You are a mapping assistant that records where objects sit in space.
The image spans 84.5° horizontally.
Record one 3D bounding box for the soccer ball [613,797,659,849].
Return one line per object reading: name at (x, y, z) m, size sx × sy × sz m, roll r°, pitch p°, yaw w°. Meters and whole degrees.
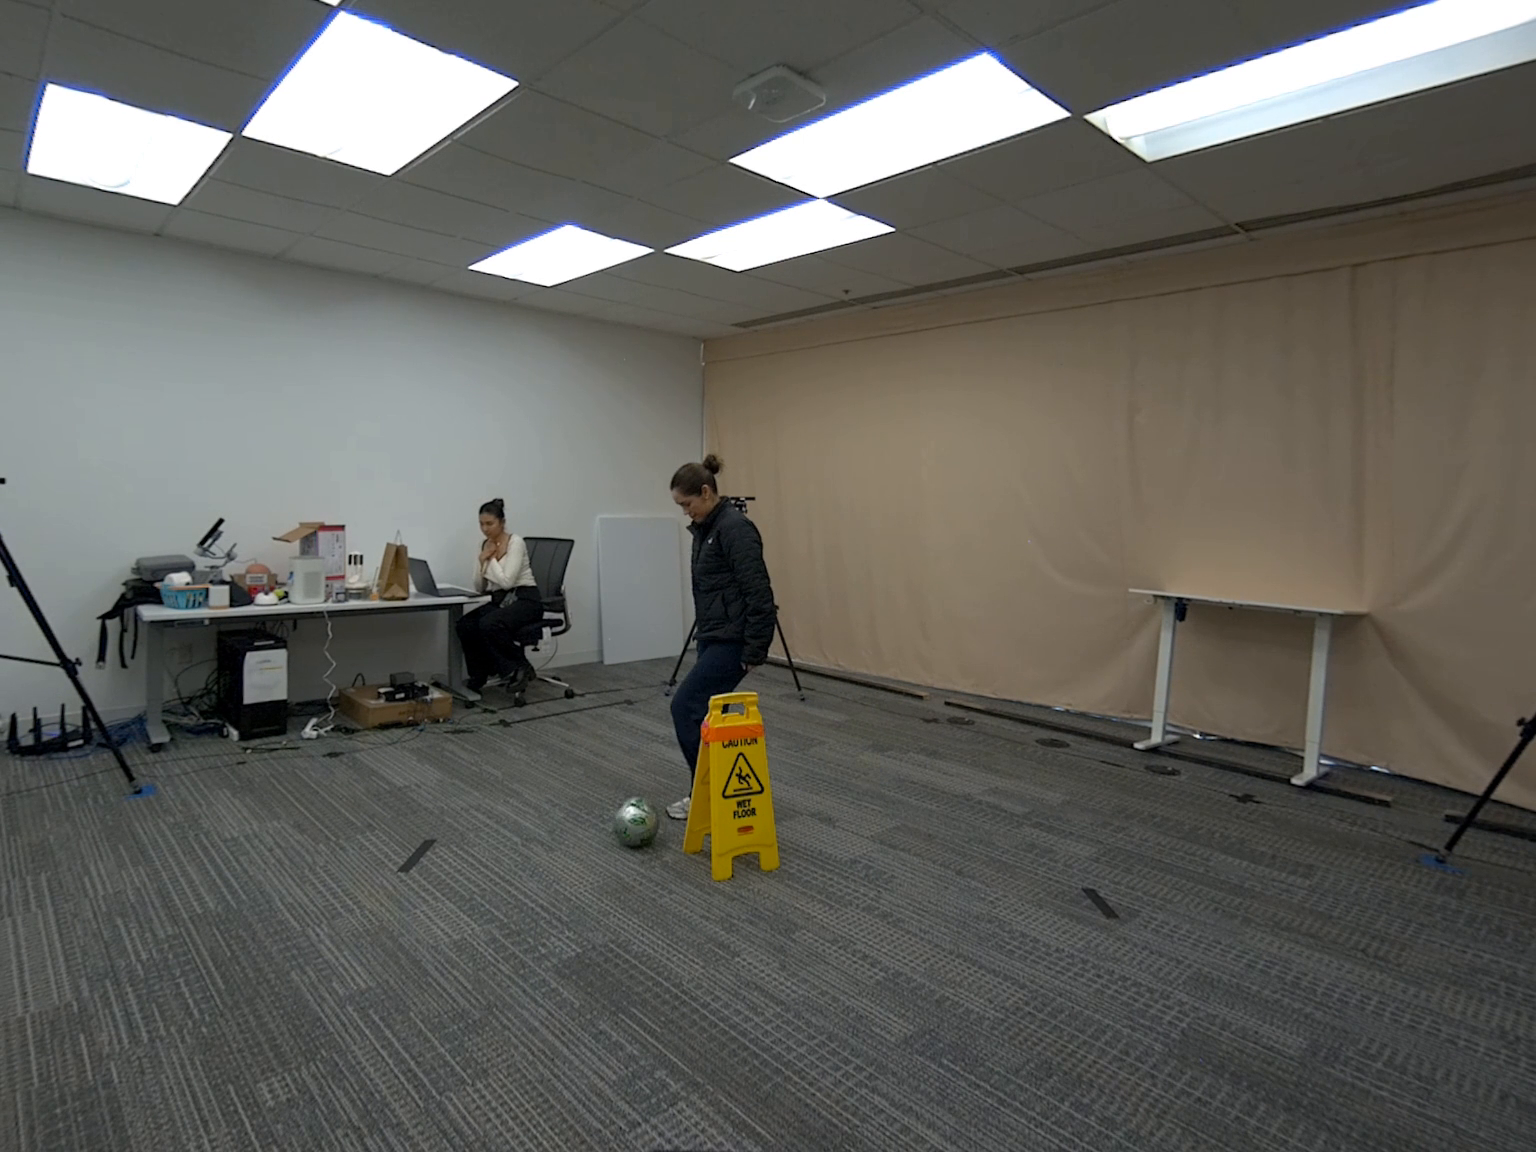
soccer ball at (-0.526, 0.972, 3.358) m, size 0.187 × 0.187 × 0.188 m, roll 1°, pitch 4°, yaw -1°
